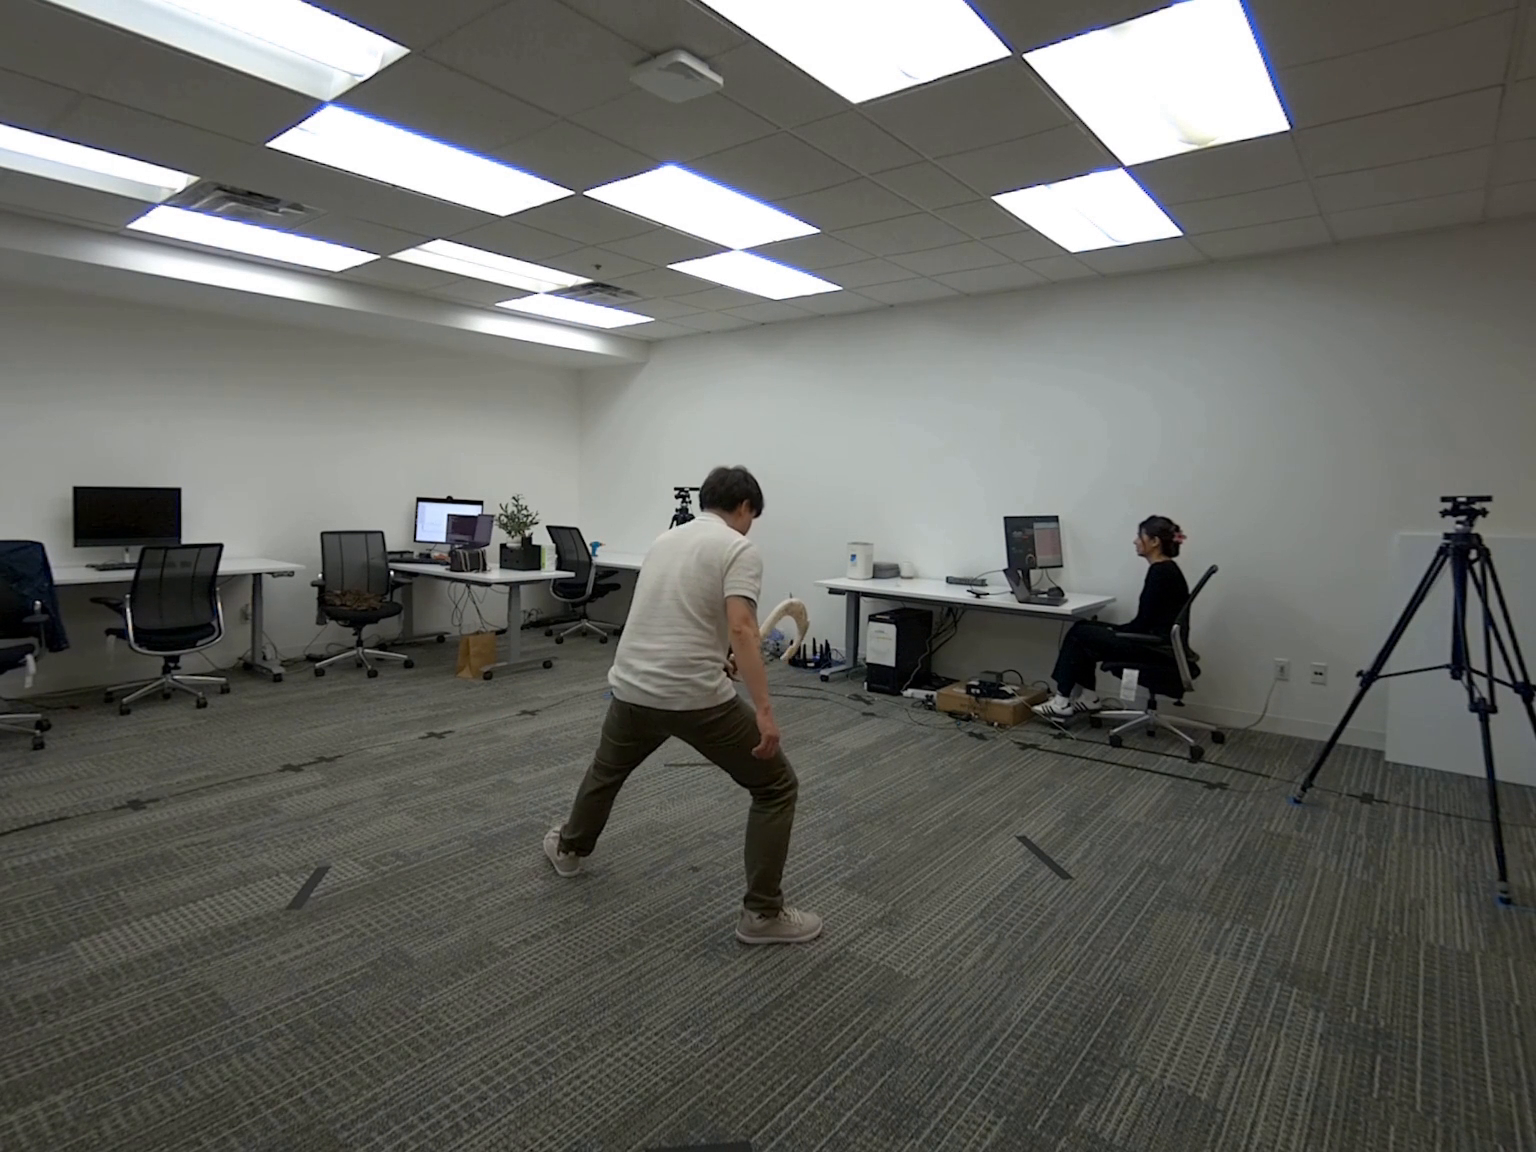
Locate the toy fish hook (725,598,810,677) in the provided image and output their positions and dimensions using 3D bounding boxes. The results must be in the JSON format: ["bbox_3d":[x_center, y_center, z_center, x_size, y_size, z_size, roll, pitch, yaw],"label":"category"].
[{"bbox_3d":[-0.022,0.287,3.171,0.050,0.218,0.504,6,38,49],"label":"toy fish hook"}]
